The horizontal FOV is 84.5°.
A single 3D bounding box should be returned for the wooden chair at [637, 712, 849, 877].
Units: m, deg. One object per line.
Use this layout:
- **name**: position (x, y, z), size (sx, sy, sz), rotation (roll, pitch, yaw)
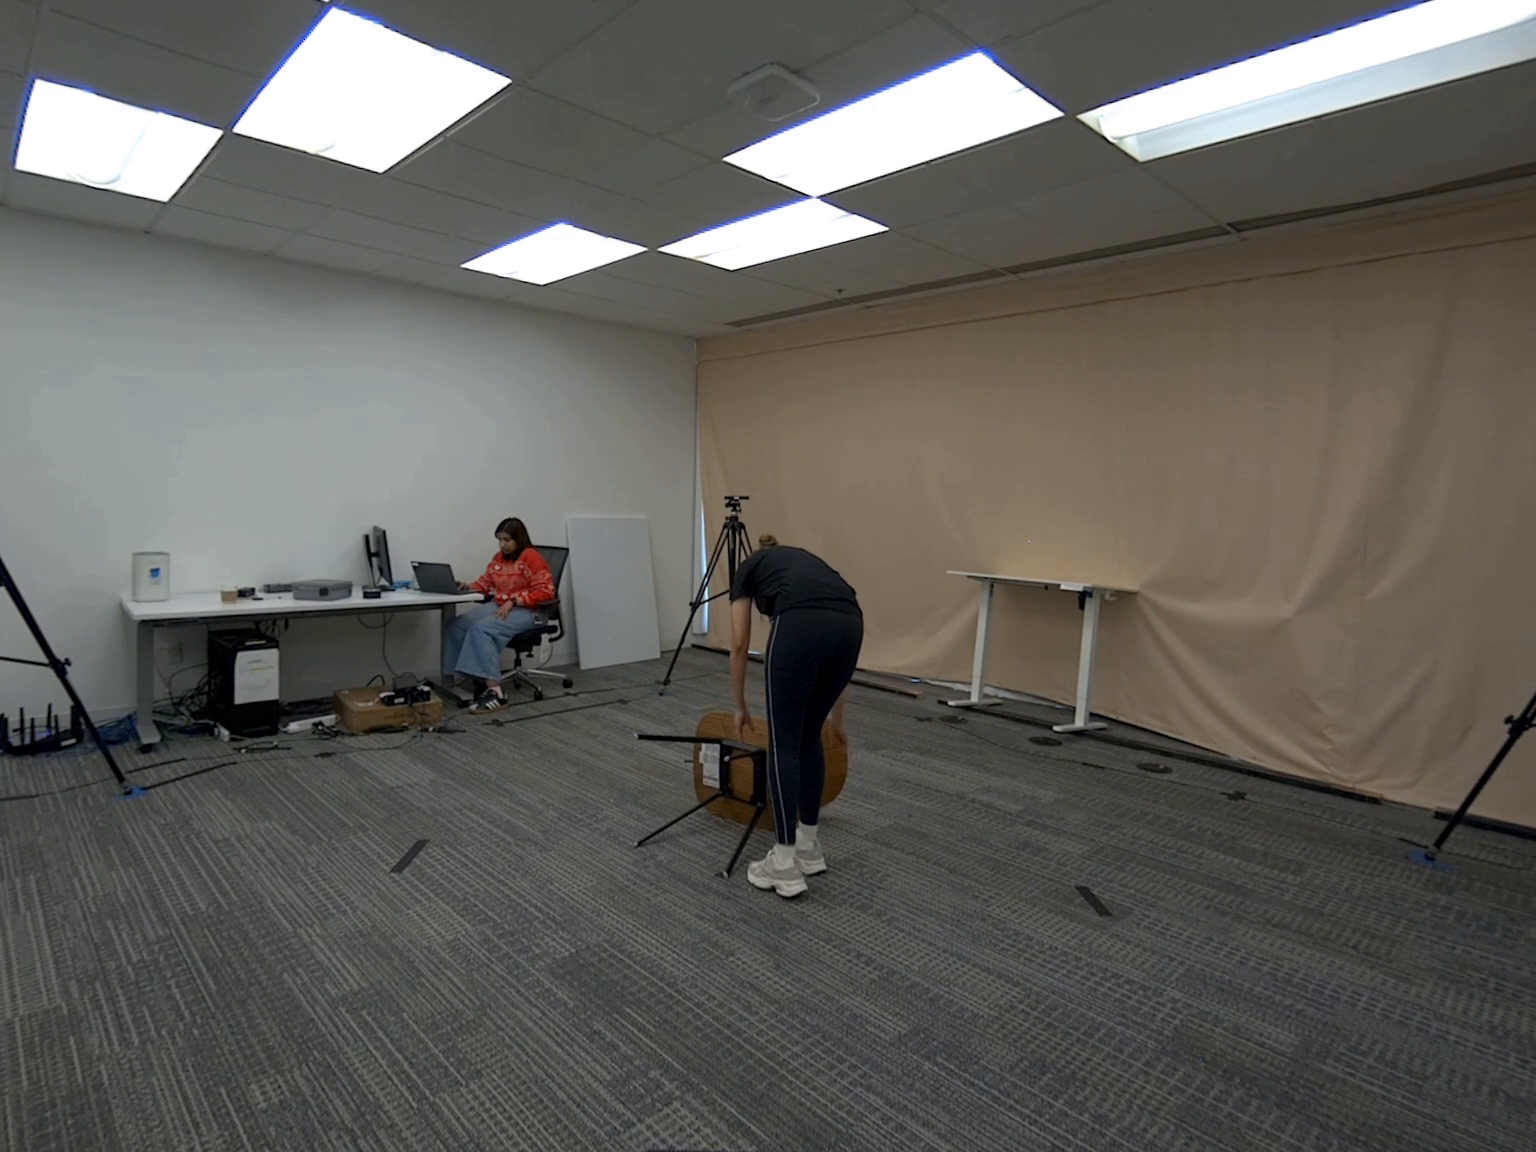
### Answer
- **wooden chair**: position (-0.122, 0.831, 3.543), size (0.536, 0.477, 0.859), rotation (4, 6, 37)
